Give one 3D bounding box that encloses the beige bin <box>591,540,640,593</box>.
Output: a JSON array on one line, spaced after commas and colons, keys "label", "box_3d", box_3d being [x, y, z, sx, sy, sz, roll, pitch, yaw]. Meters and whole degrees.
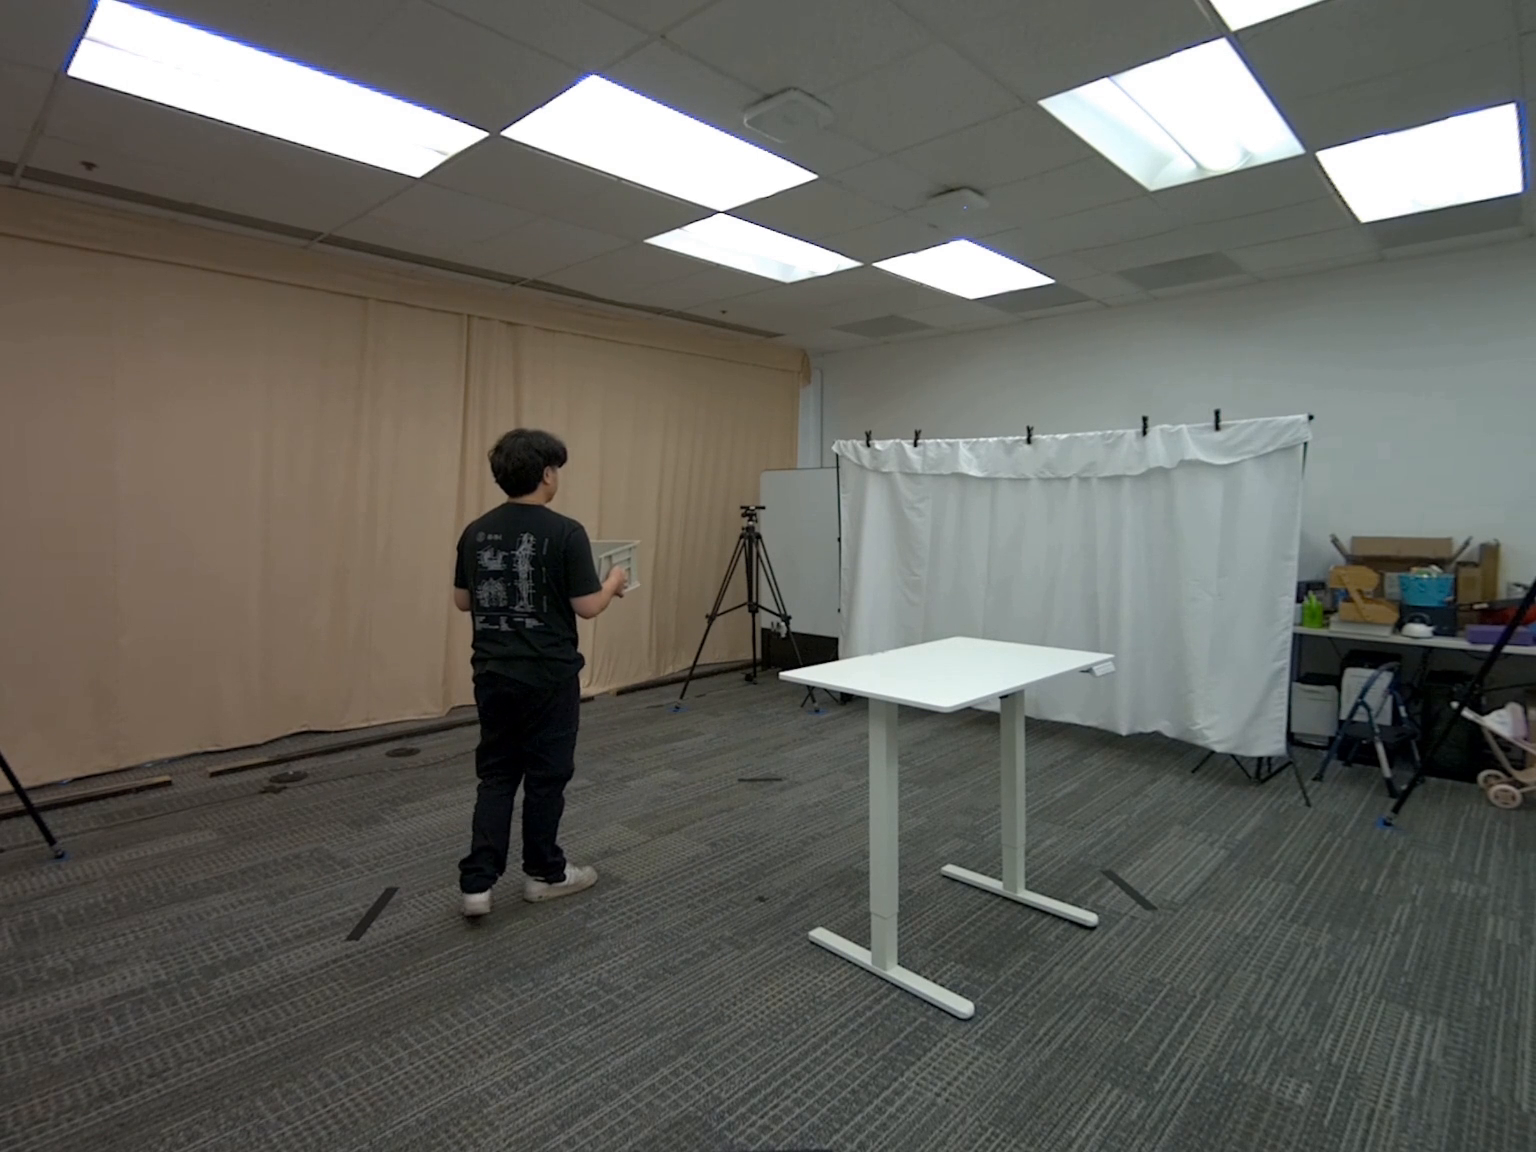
[{"label": "beige bin", "box_3d": [-0.762, -0.027, 3.257, 0.431, 0.188, 0.371, 1, 7, 19]}]
